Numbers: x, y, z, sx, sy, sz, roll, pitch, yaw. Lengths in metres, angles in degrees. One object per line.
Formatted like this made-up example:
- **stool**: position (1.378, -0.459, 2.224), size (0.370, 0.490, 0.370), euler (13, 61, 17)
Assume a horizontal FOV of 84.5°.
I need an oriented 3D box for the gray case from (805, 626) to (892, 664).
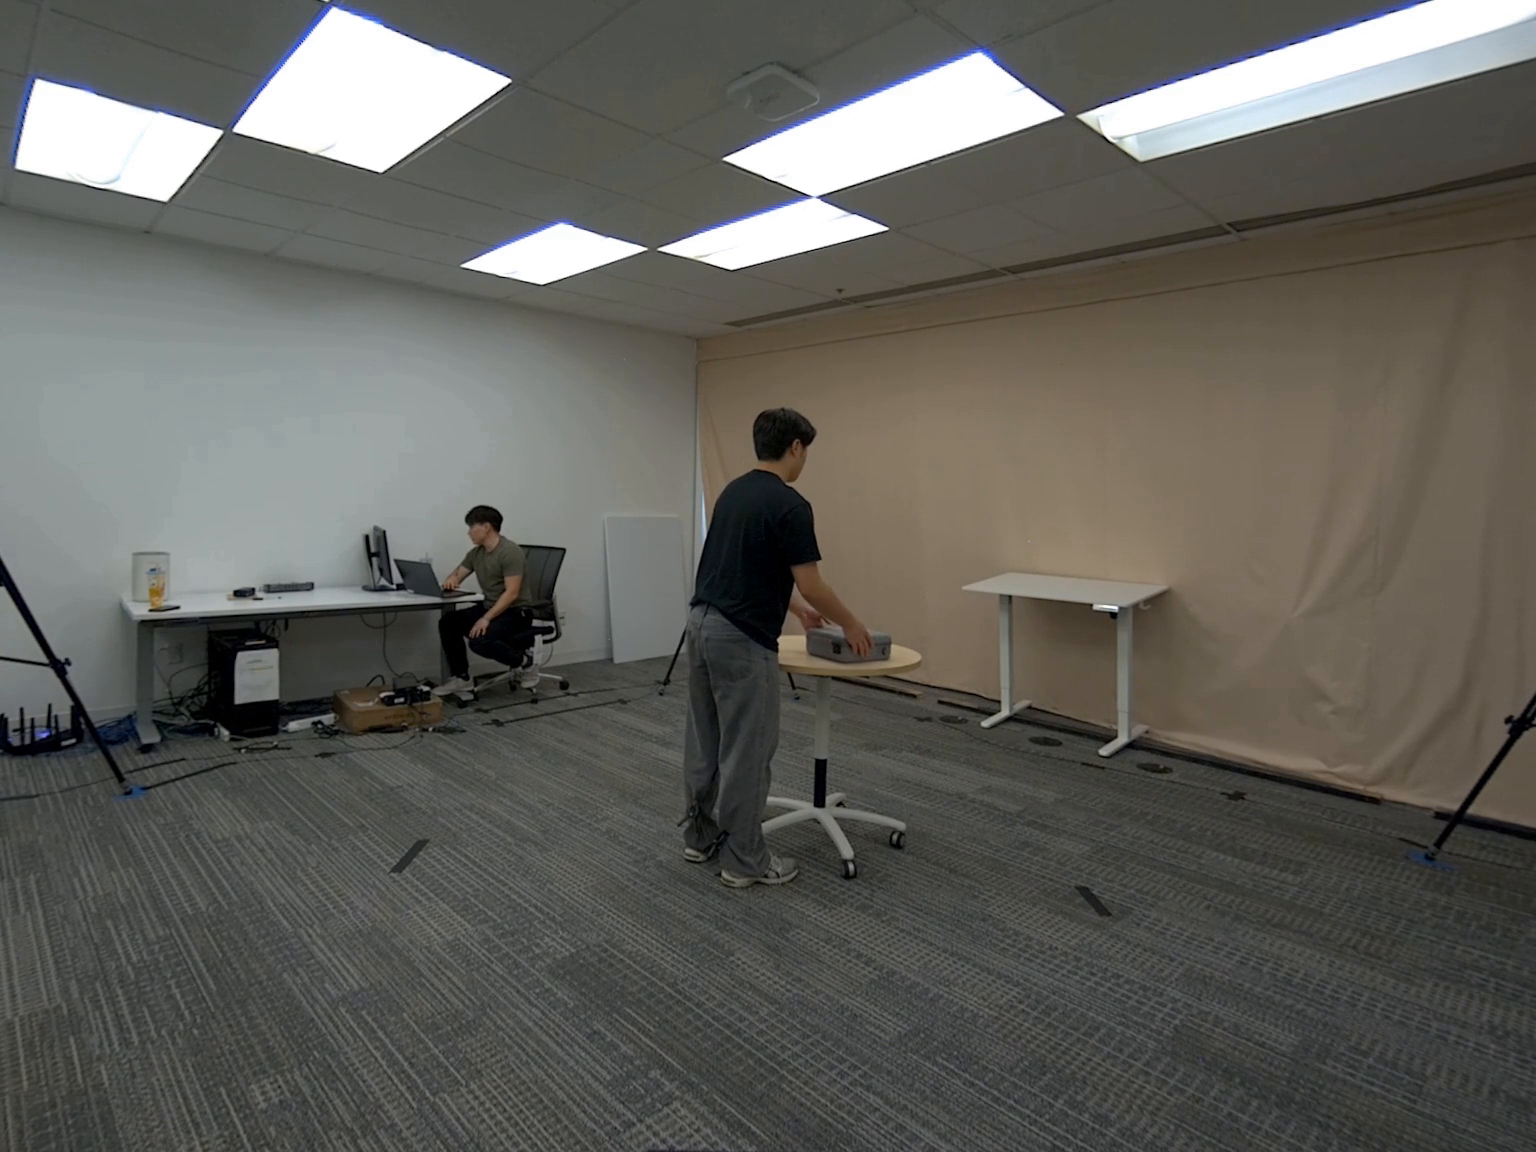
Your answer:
- **gray case**: position (0.325, 0.266, 3.302), size (0.281, 0.103, 0.269), euler (0, 4, -32)
